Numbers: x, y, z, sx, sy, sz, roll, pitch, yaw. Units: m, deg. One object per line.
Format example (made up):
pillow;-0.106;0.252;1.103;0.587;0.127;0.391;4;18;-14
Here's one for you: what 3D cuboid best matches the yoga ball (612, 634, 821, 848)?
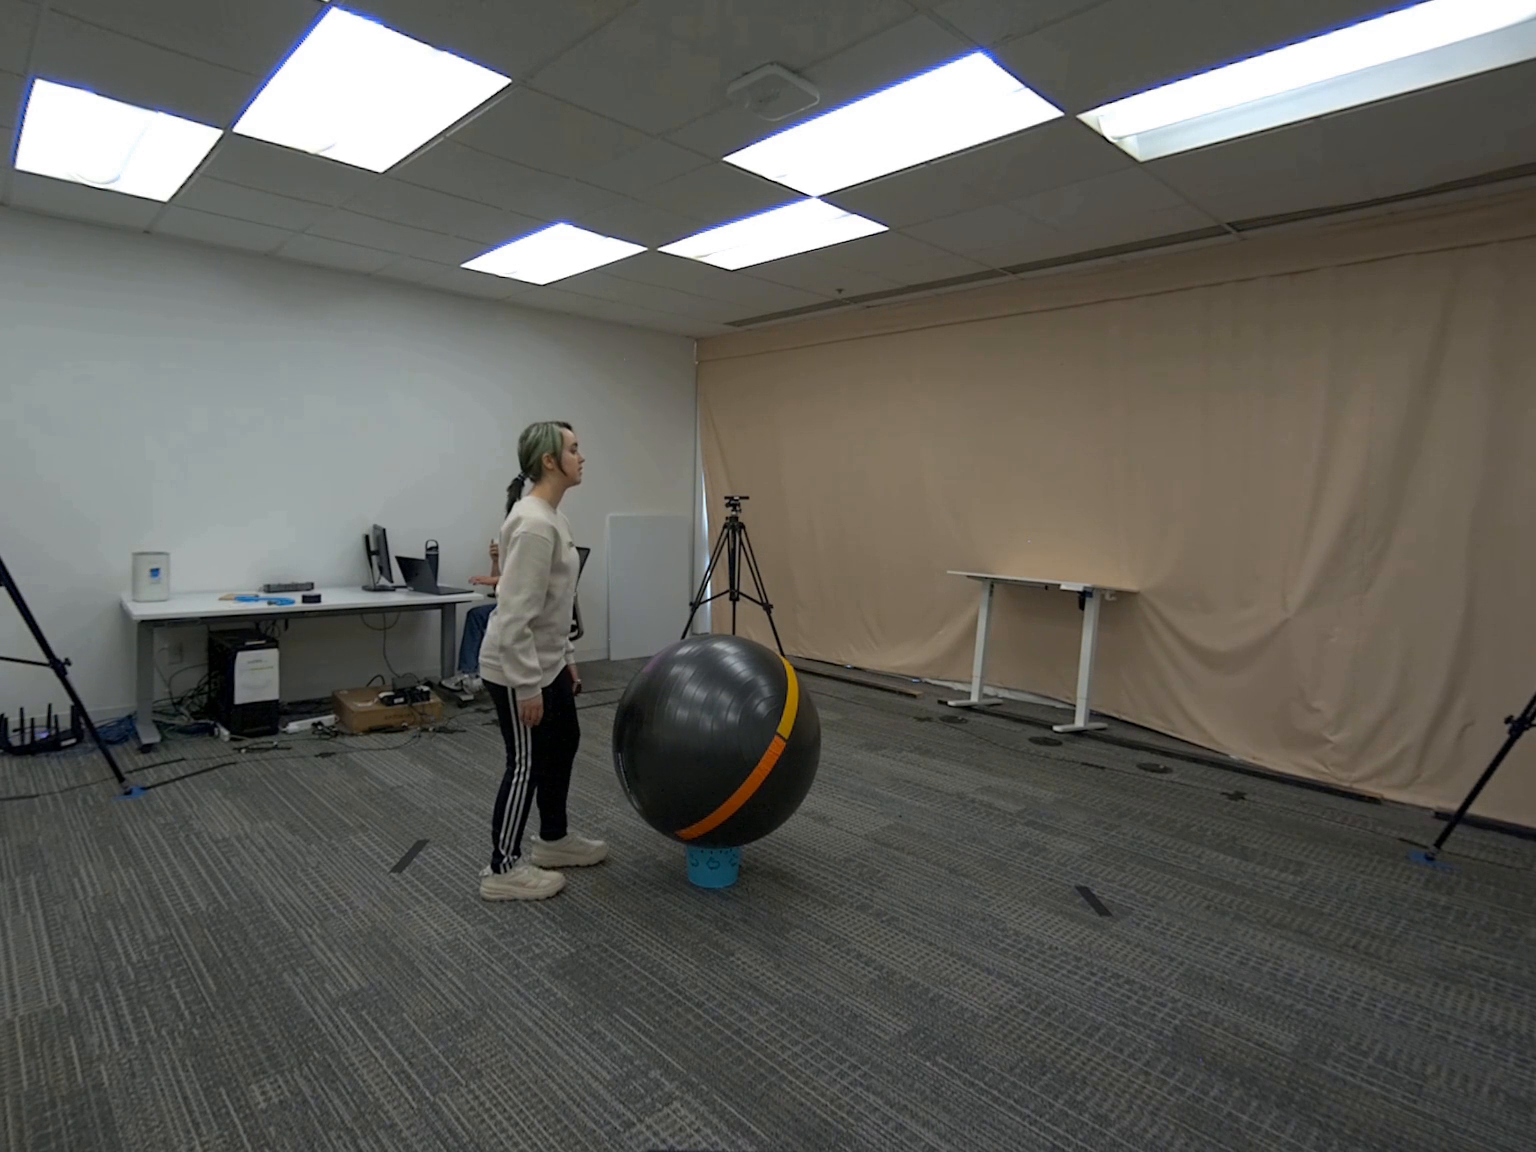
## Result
yoga ball;-0.191;0.593;3.063;0.757;0.756;0.761;1;4;-1
